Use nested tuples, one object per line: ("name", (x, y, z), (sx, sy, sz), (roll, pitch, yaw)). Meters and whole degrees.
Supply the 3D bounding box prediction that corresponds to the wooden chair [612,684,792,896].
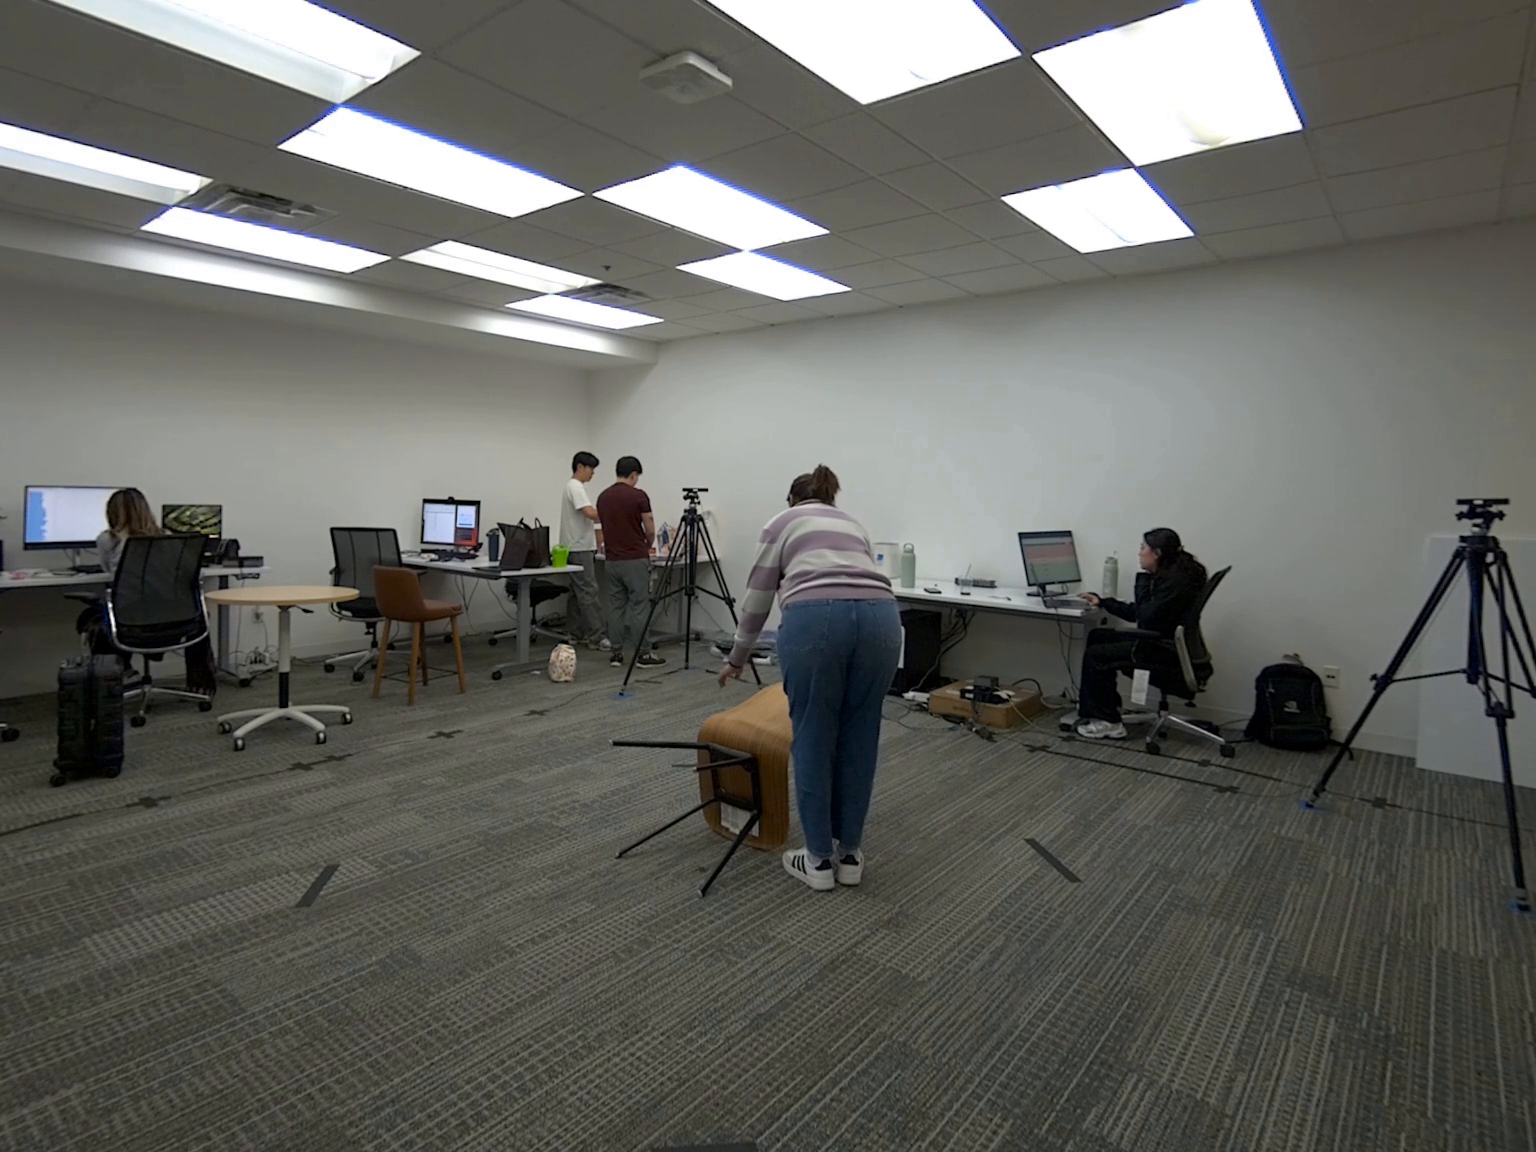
("wooden chair", (-0.145, 0.793, 3.329), (0.494, 0.518, 0.857), (4, 14, 41))
